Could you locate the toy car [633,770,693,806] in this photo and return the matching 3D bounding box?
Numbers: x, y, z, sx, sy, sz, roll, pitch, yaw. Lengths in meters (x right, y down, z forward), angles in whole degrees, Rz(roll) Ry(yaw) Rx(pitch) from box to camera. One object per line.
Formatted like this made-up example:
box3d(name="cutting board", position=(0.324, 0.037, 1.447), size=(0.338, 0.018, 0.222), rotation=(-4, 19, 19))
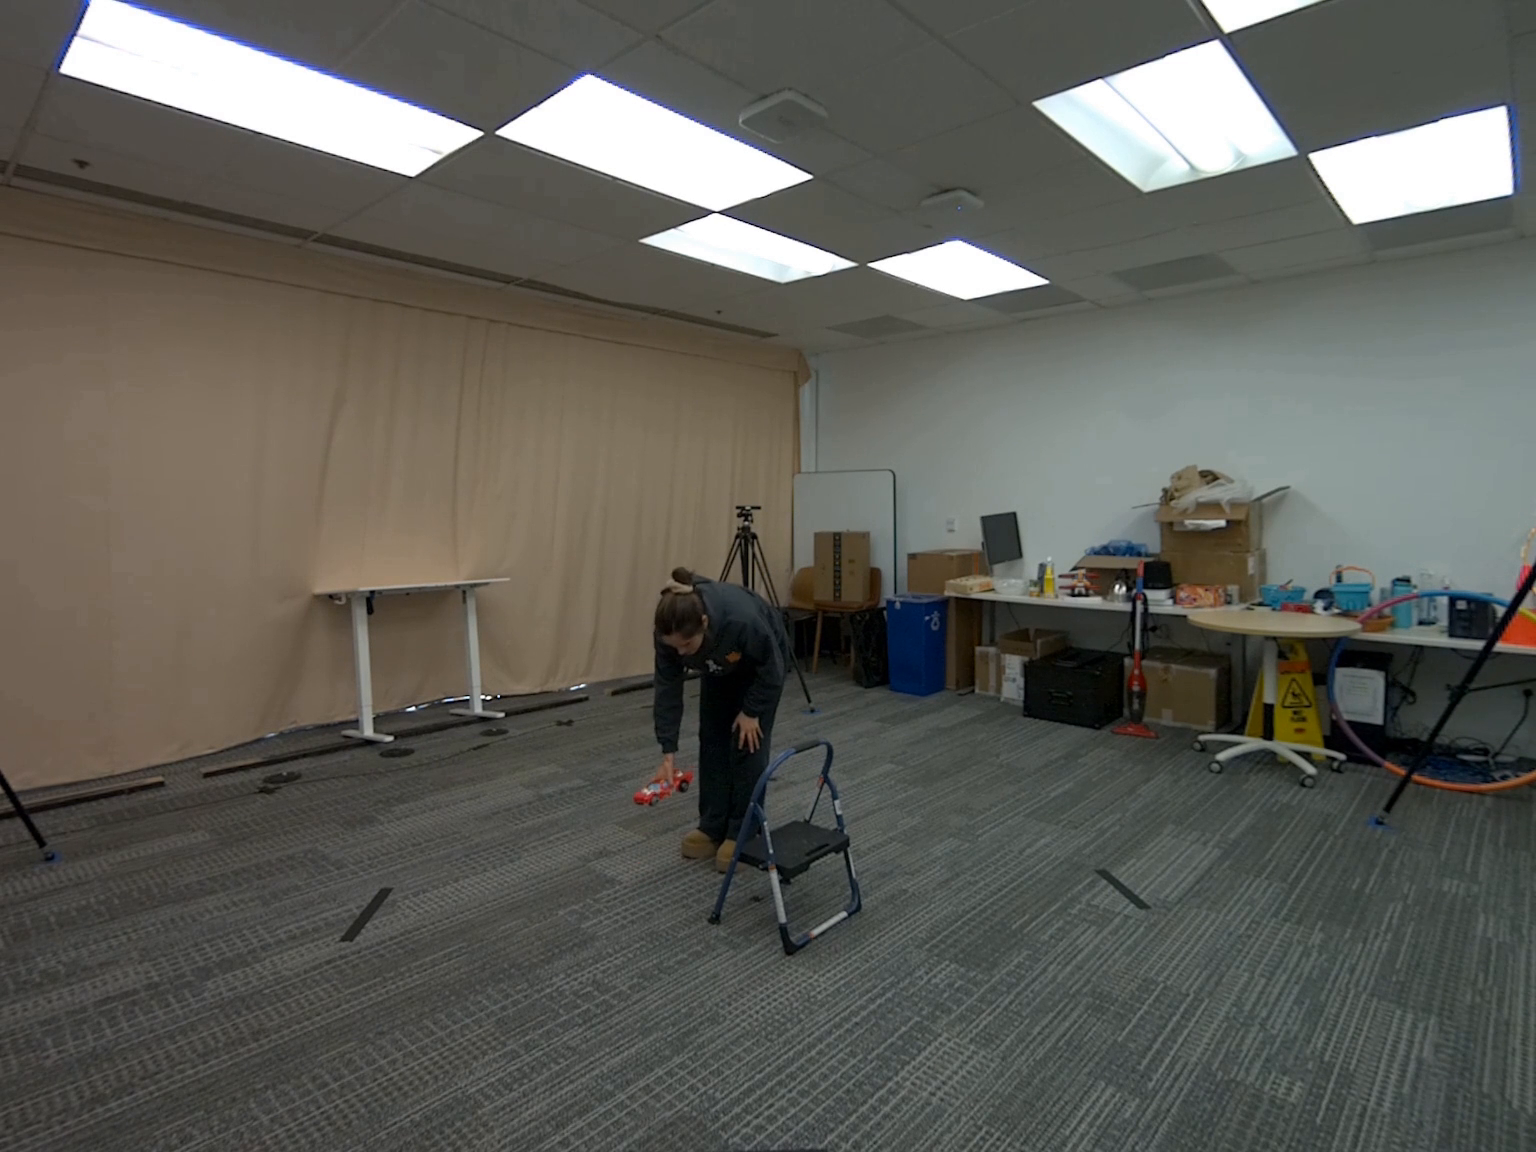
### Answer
box3d(name="toy car", position=(-0.371, 0.819, 3.238), size=(0.134, 0.082, 0.250), rotation=(-12, 14, 47))
